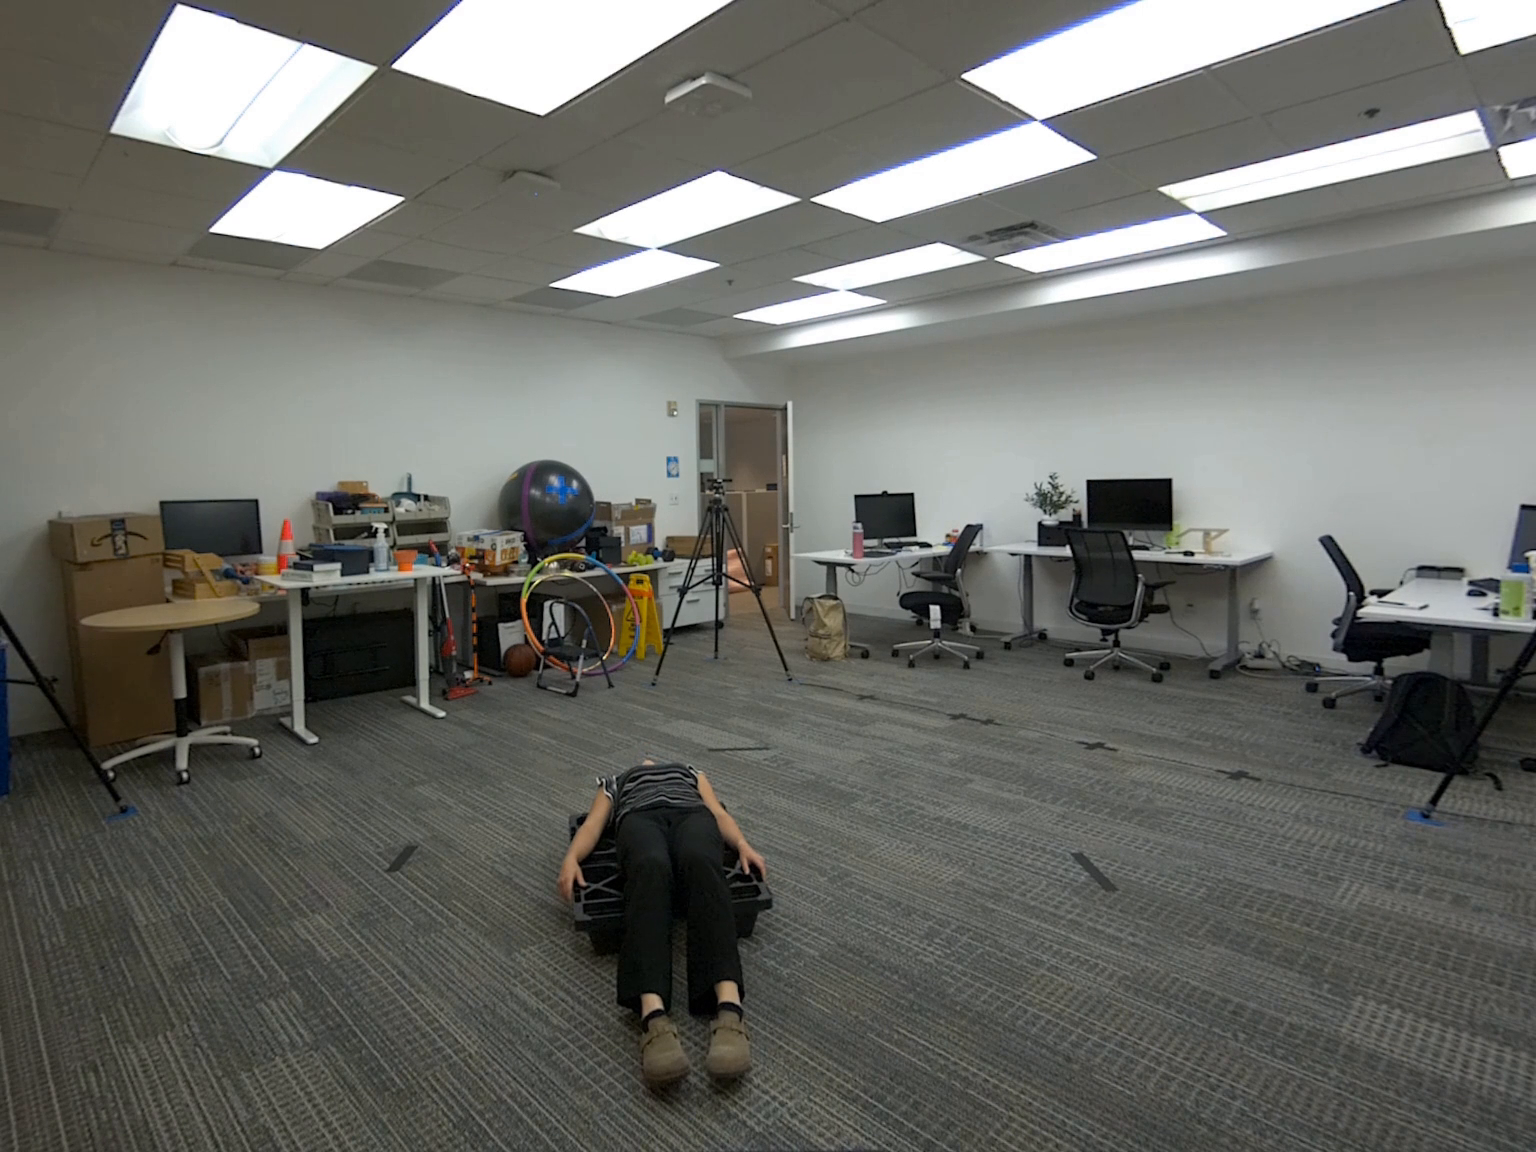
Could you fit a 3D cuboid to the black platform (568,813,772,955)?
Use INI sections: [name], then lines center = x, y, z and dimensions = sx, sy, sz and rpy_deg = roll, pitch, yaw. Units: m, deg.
[black platform]
center = -0.374, 1.008, 2.906
dimensions = 0.598, 0.142, 0.819
rpy_deg = -1, 7, -13
